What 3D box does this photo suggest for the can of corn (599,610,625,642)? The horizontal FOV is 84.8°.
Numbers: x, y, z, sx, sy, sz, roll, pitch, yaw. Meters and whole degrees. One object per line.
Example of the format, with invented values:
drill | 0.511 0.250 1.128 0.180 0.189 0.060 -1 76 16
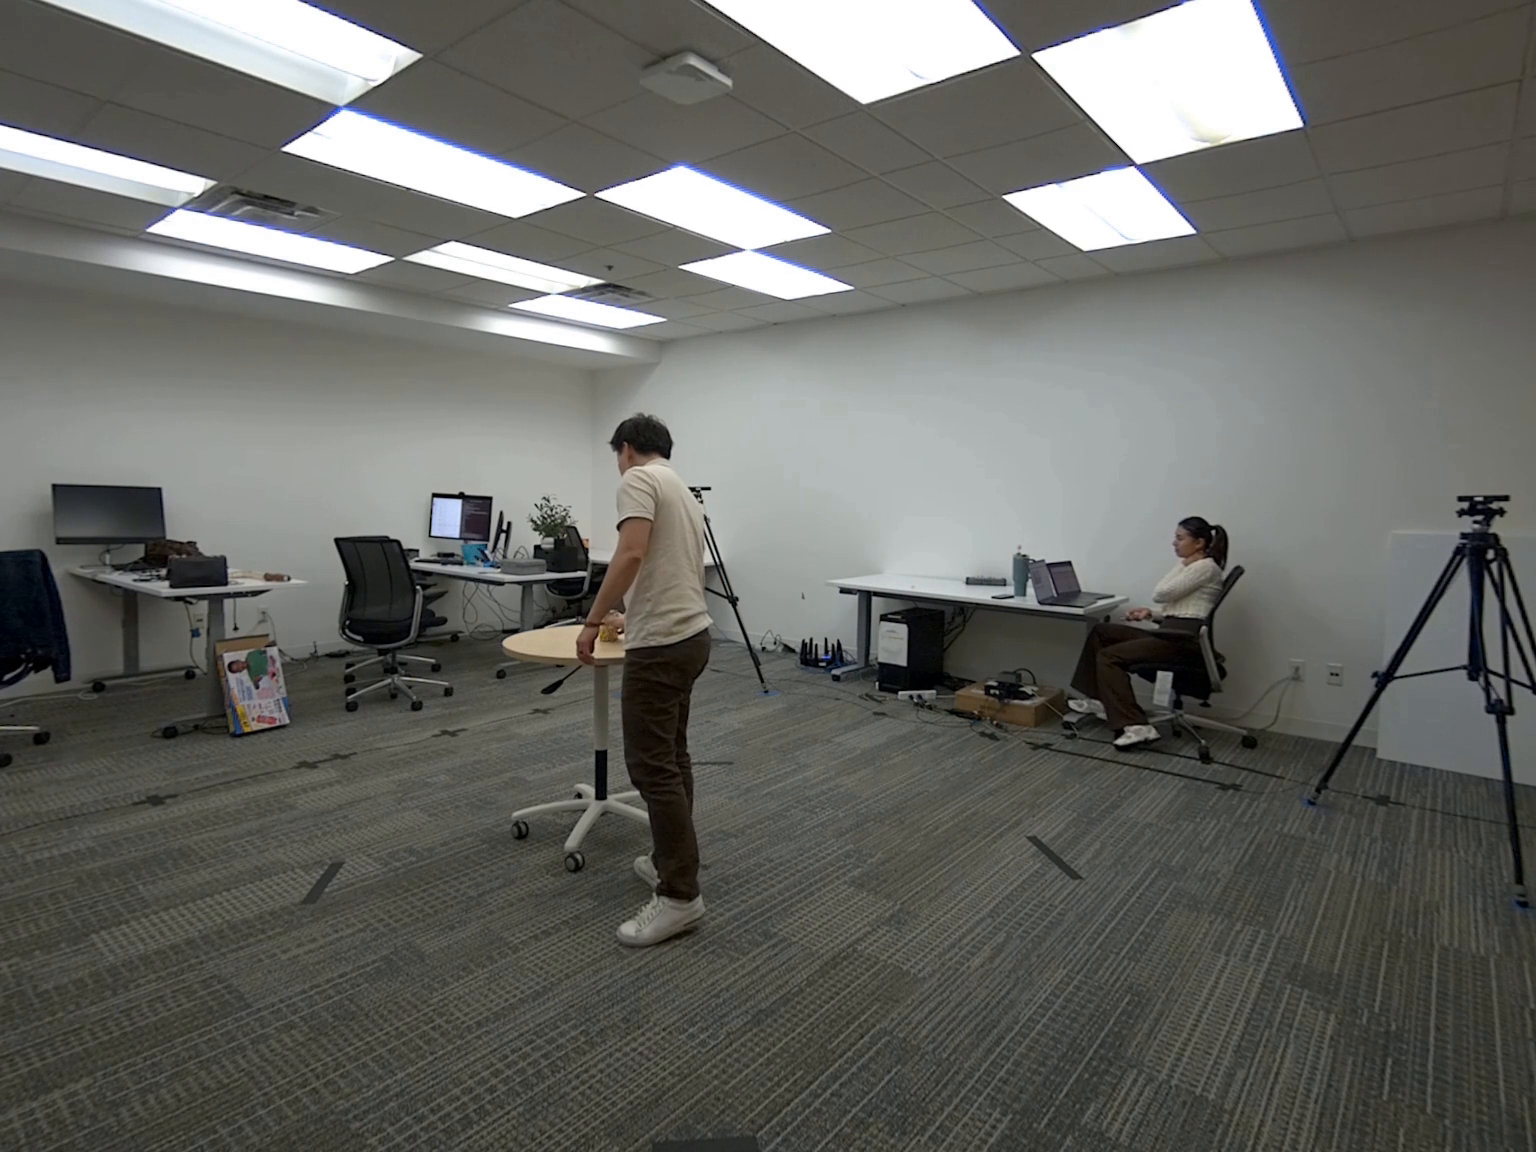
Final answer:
can of corn | -0.628 0.188 3.362 0.074 0.111 0.074 2 0 -2
